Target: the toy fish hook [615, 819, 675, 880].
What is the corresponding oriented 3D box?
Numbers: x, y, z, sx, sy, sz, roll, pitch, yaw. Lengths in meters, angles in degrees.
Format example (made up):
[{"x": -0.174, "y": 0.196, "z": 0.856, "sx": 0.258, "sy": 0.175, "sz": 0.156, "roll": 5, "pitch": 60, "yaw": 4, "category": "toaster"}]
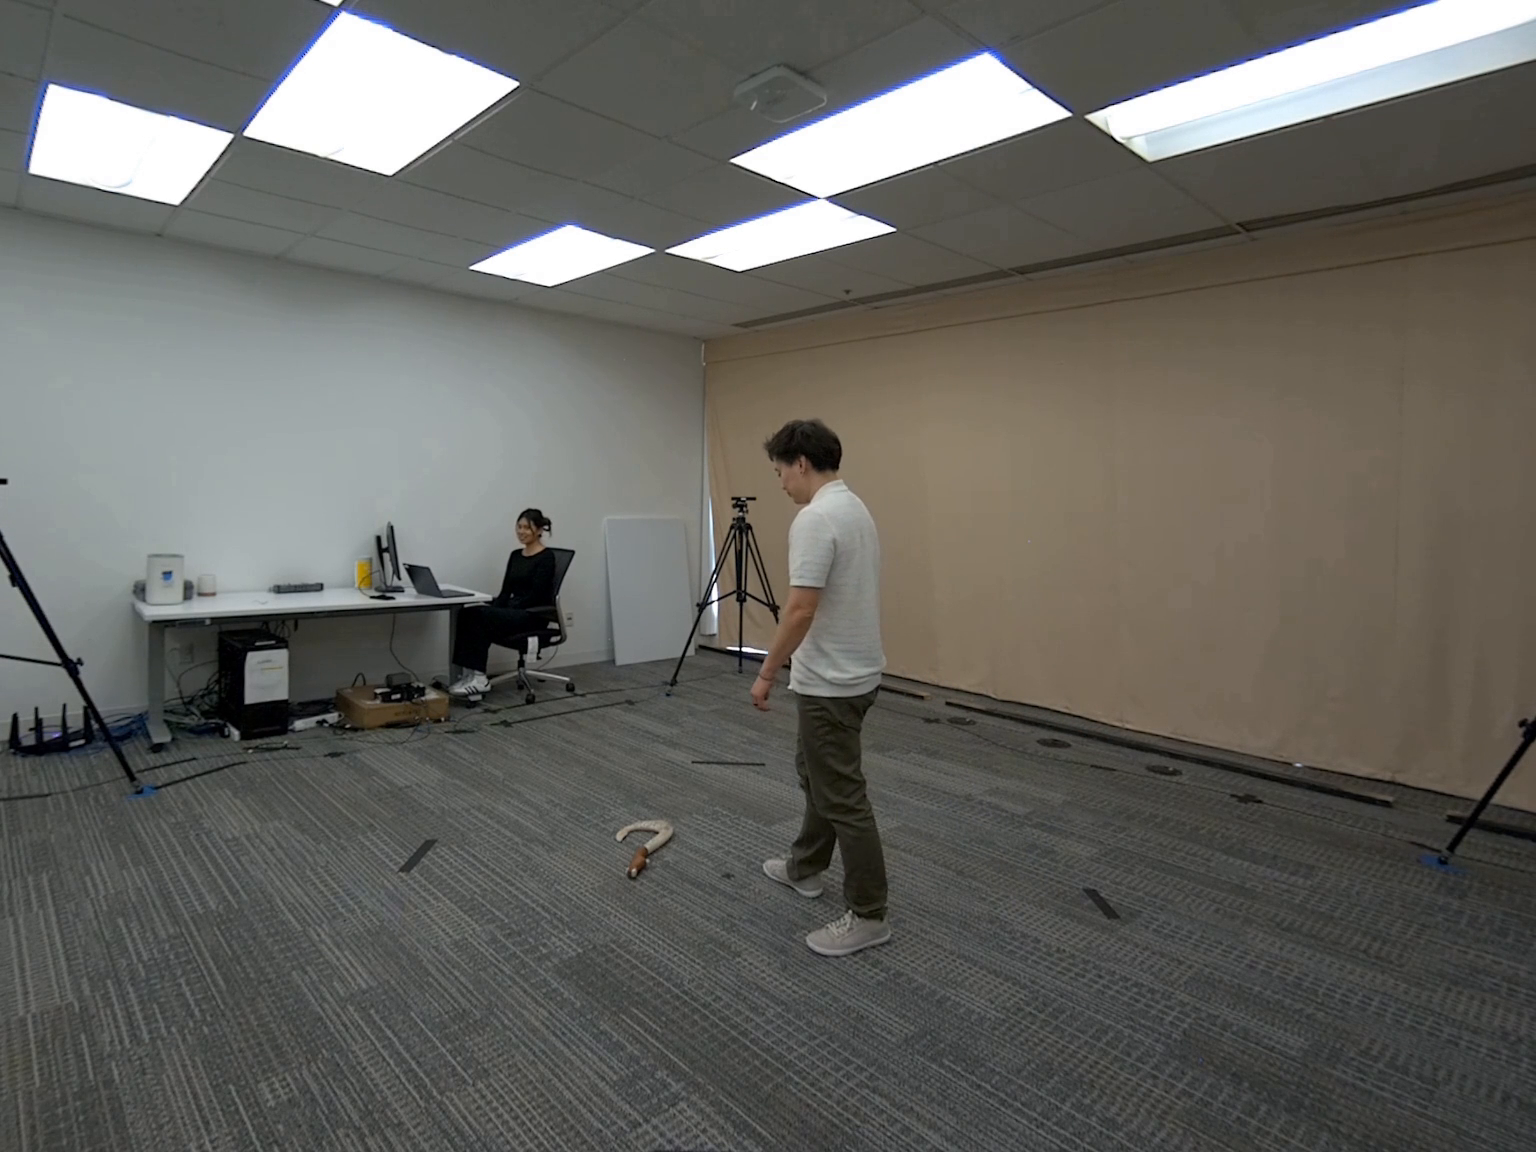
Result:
[{"x": -0.523, "y": 1.062, "z": 3.298, "sx": 0.226, "sy": 0.048, "sz": 0.504, "roll": -6, "pitch": 3, "yaw": 8, "category": "toy fish hook"}]
